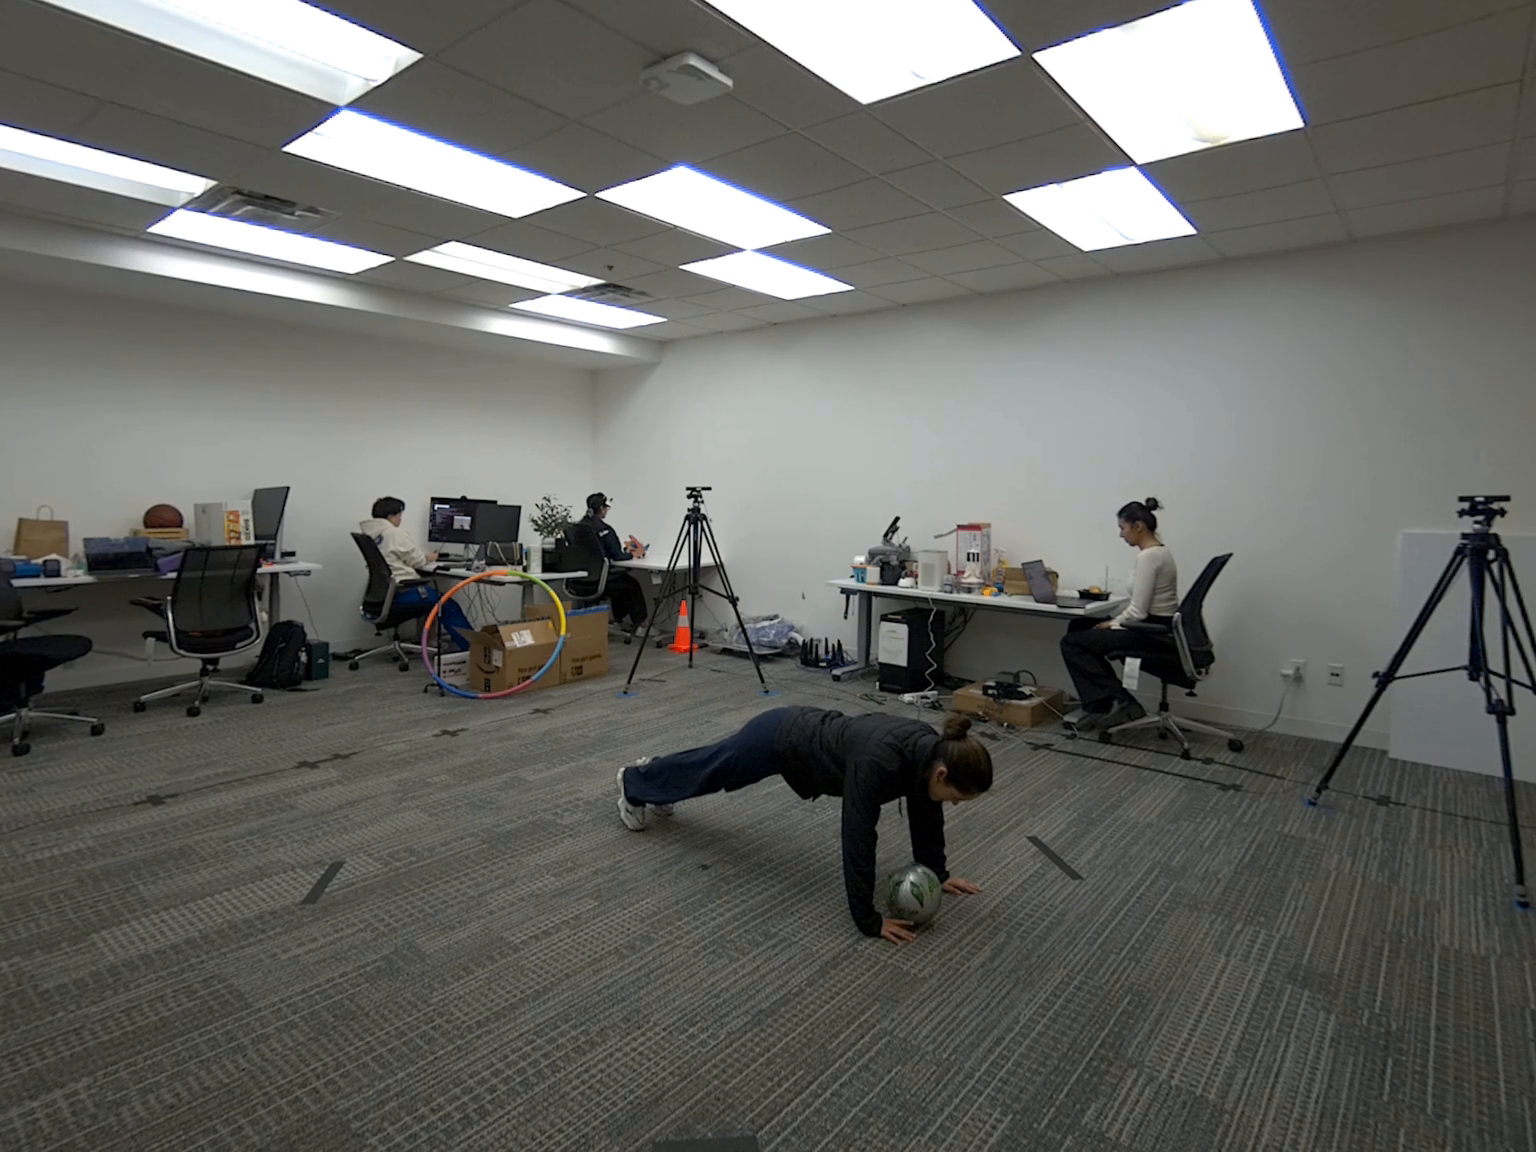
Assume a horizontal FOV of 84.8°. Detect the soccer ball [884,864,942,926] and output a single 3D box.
[{"bbox_3d":[0.468,1.030,2.753,0.187,0.187,0.188,1,4,-2],"label":"soccer ball"}]
